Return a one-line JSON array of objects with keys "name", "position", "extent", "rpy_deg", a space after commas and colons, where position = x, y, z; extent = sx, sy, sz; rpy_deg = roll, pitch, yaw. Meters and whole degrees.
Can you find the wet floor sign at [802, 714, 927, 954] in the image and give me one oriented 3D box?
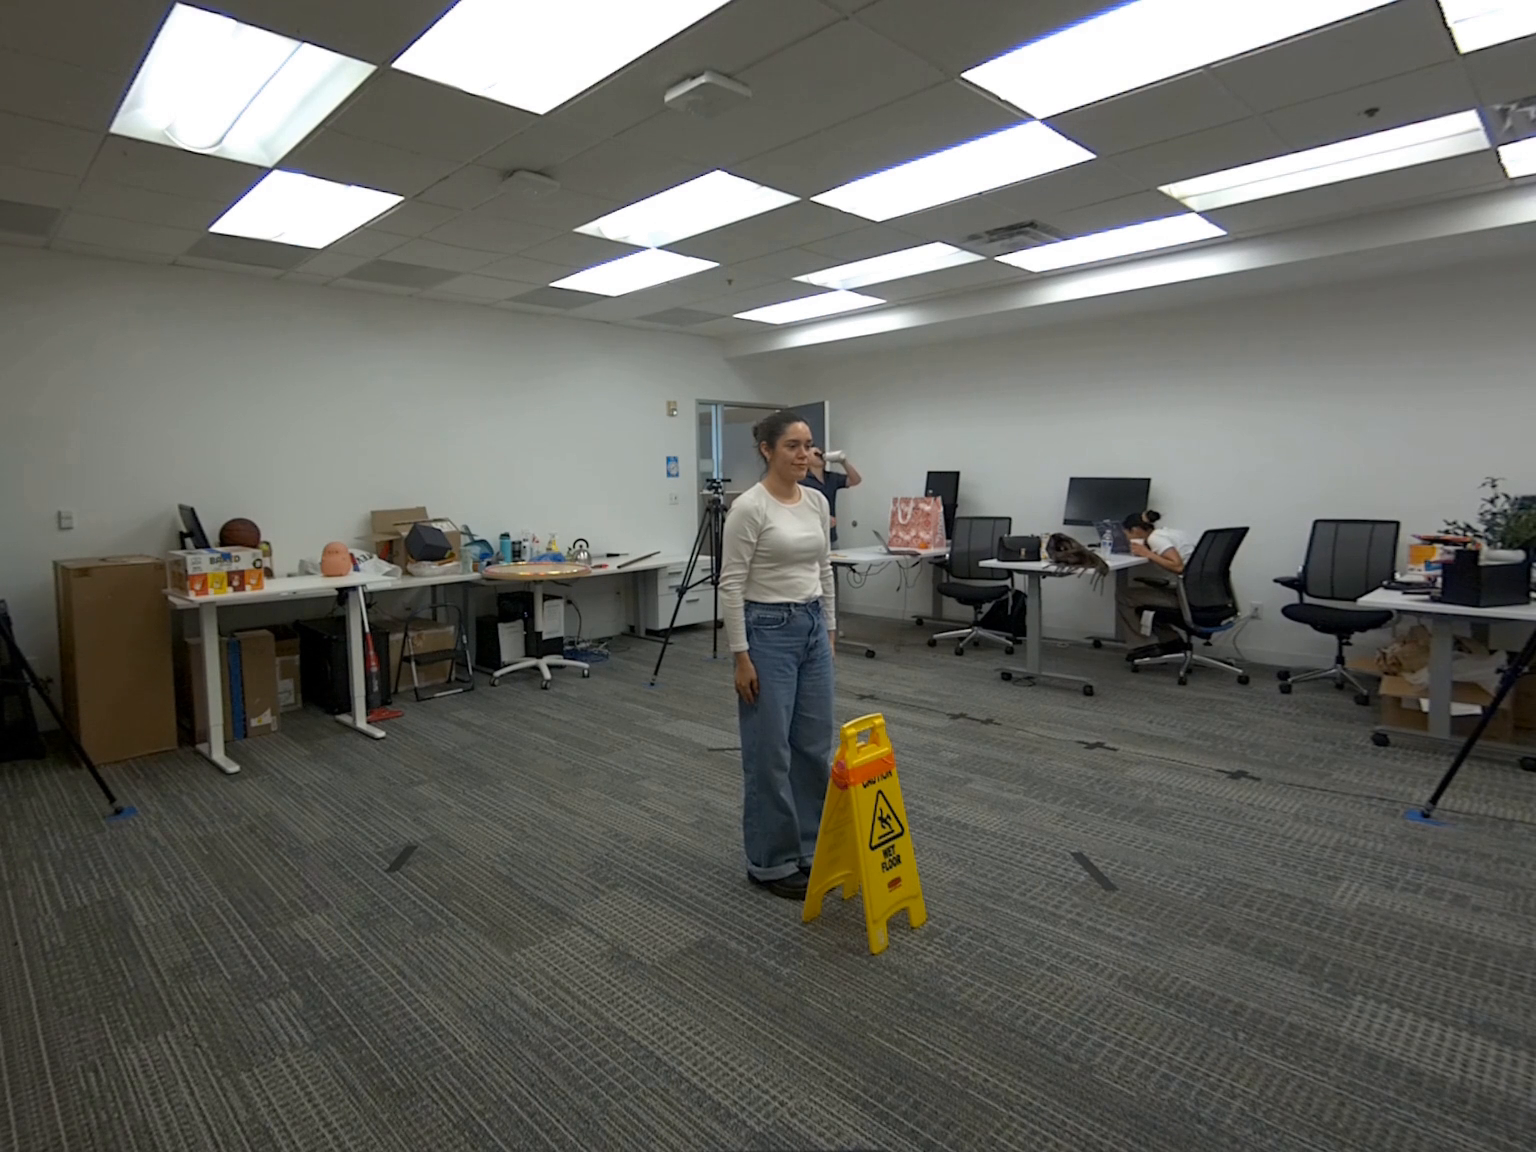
[{"name": "wet floor sign", "position": [0.302, 0.764, 2.665], "extent": [0.299, 0.643, 0.275], "rpy_deg": [5, 8, 45]}]
